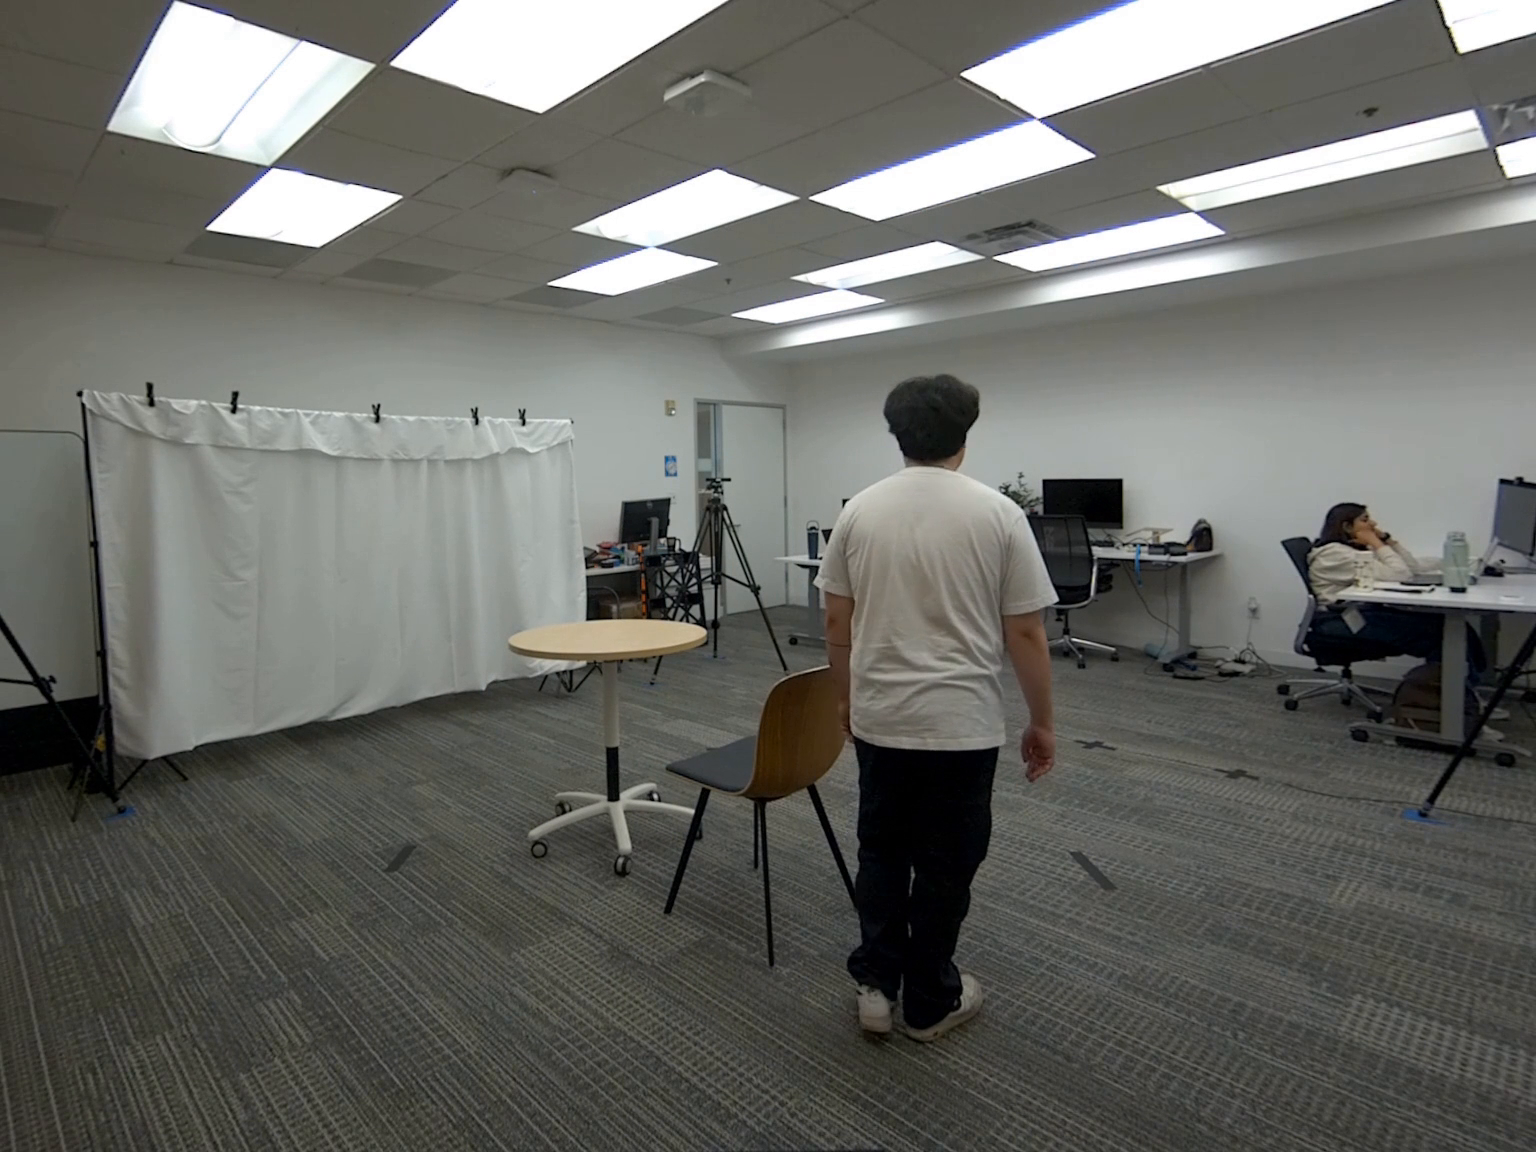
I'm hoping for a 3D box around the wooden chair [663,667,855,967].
[{"bbox_3d":[-0.029,0.657,2.731,0.540,0.872,0.465,9,10,41],"label":"wooden chair"}]
